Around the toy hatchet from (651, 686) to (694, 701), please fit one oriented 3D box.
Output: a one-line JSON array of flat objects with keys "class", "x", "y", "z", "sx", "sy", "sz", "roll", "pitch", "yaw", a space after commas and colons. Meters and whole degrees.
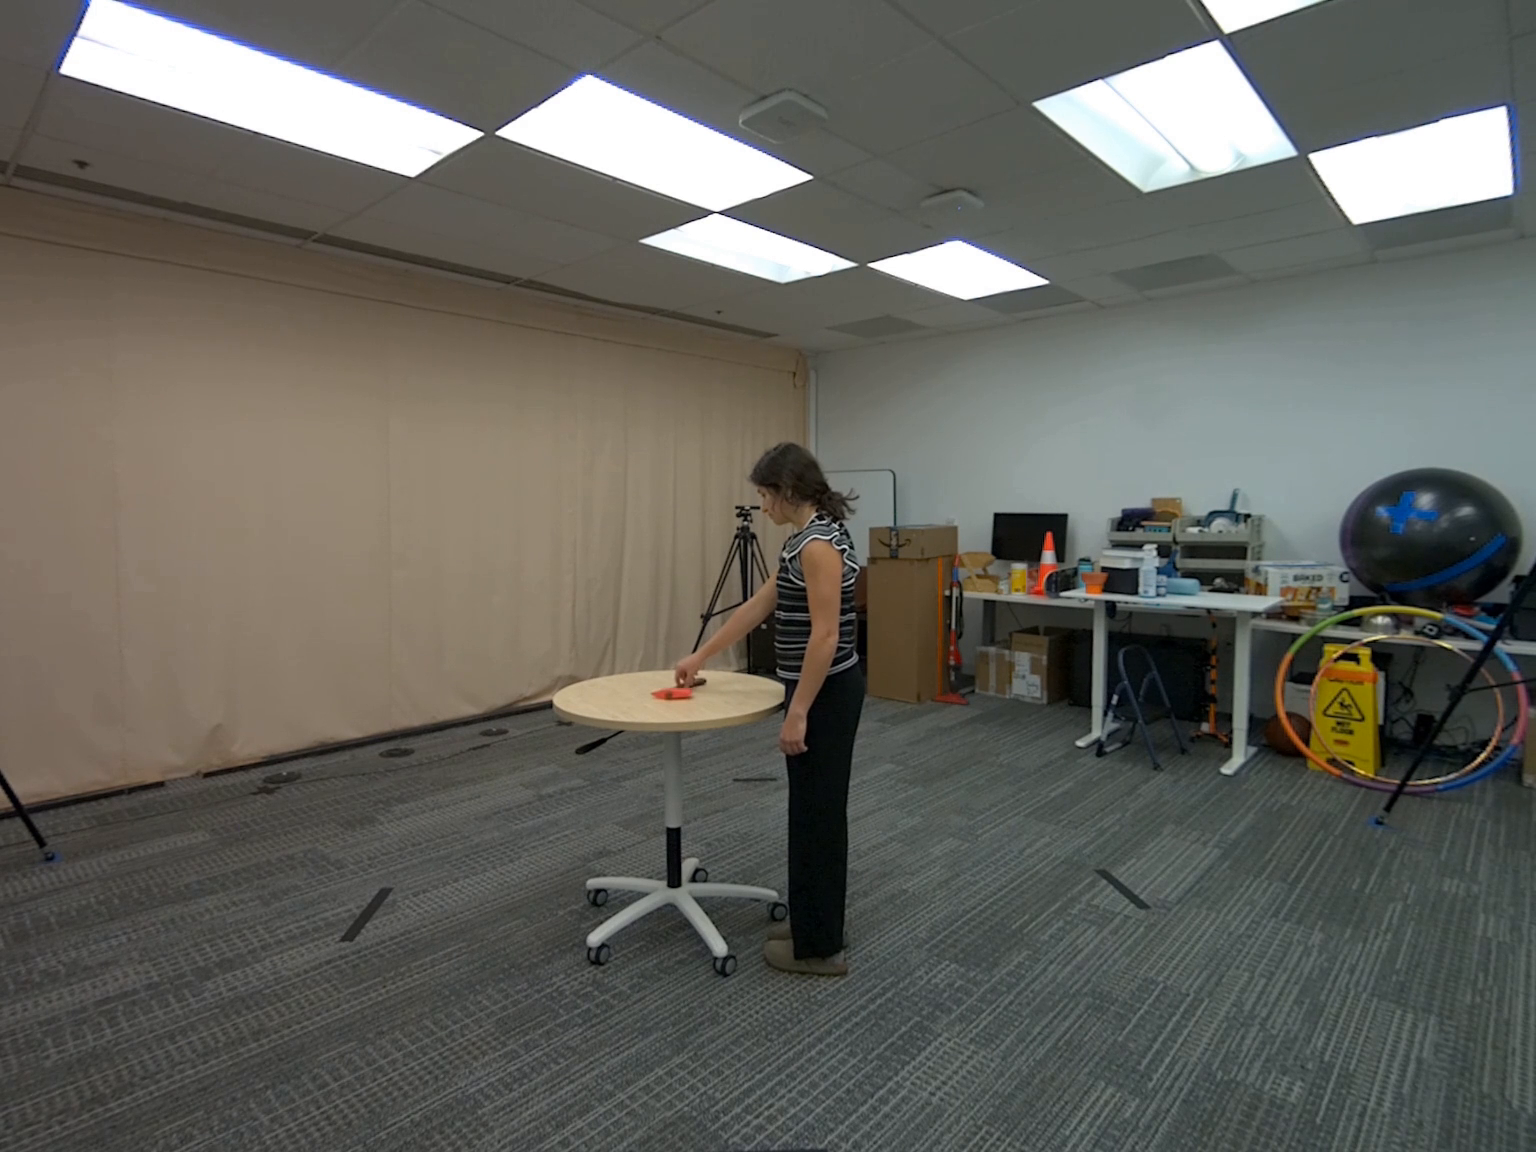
[{"class": "toy hatchet", "x": -0.255, "y": 0.367, "z": 2.756, "sx": 0.135, "sy": 0.029, "sz": 0.263, "roll": -3, "pitch": 3, "yaw": 30}]
